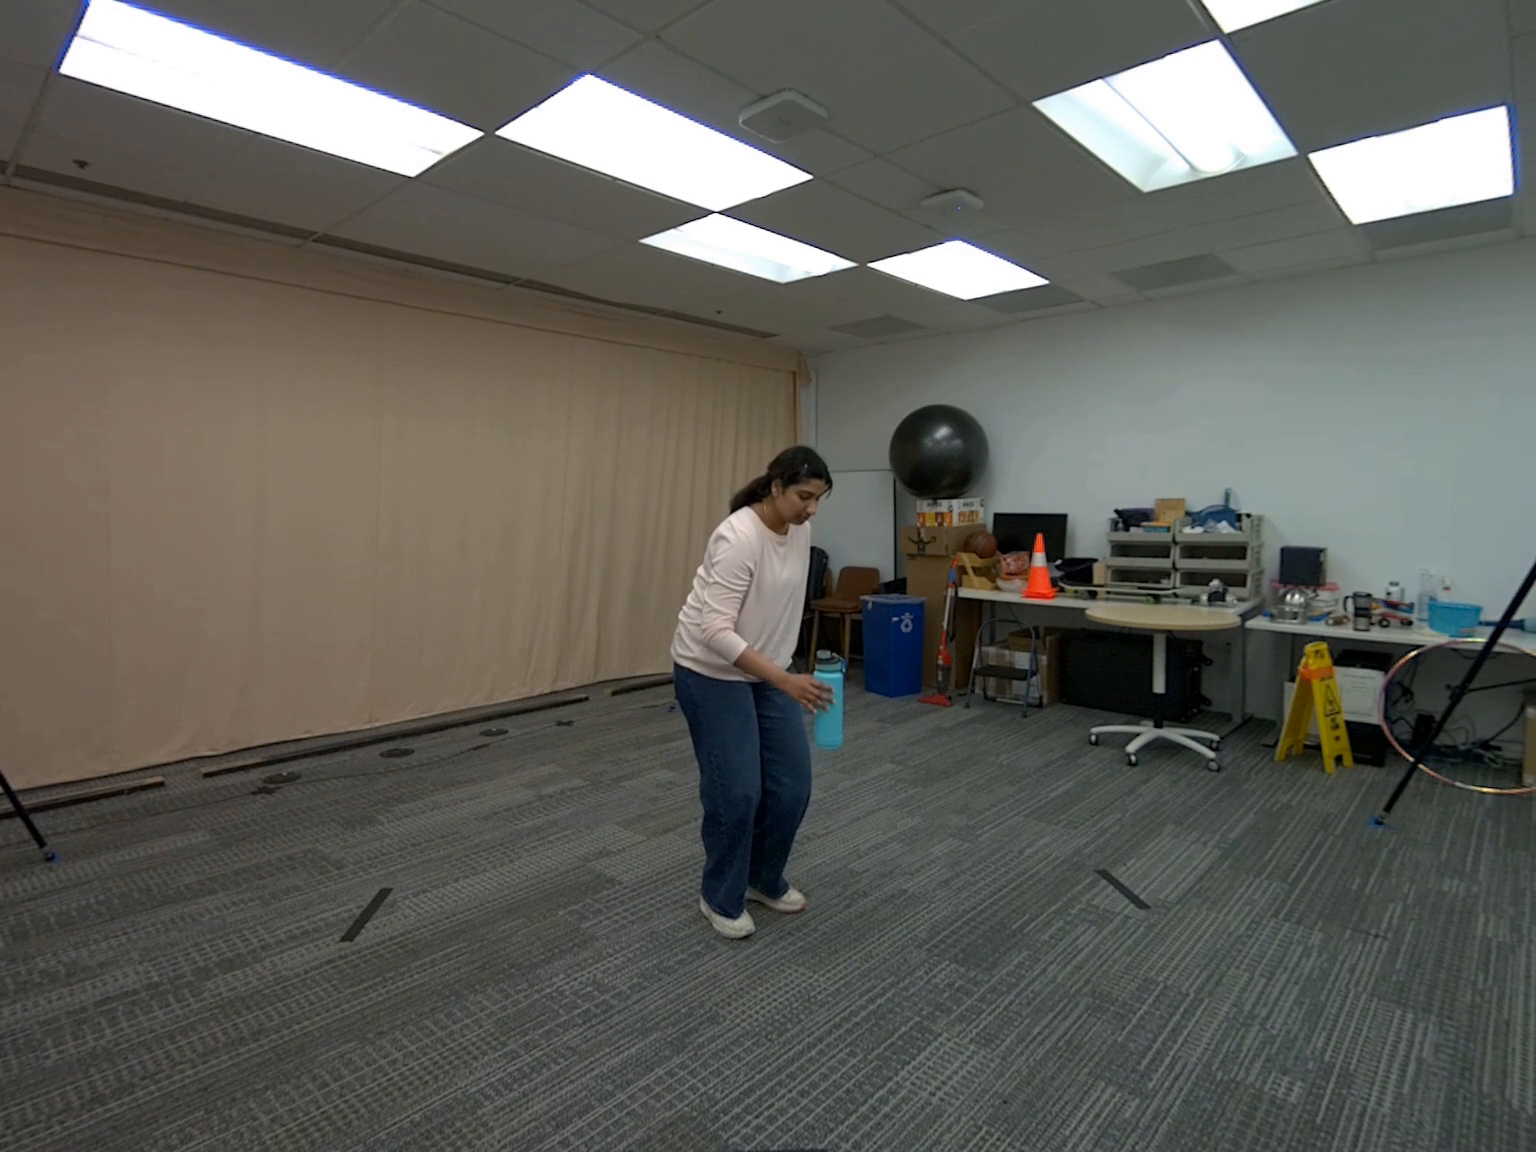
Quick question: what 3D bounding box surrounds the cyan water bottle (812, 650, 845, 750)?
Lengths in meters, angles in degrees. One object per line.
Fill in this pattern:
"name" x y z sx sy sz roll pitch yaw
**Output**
"cyan water bottle" 0.184 0.370 2.518 0.092 0.282 0.093 0 4 -2
